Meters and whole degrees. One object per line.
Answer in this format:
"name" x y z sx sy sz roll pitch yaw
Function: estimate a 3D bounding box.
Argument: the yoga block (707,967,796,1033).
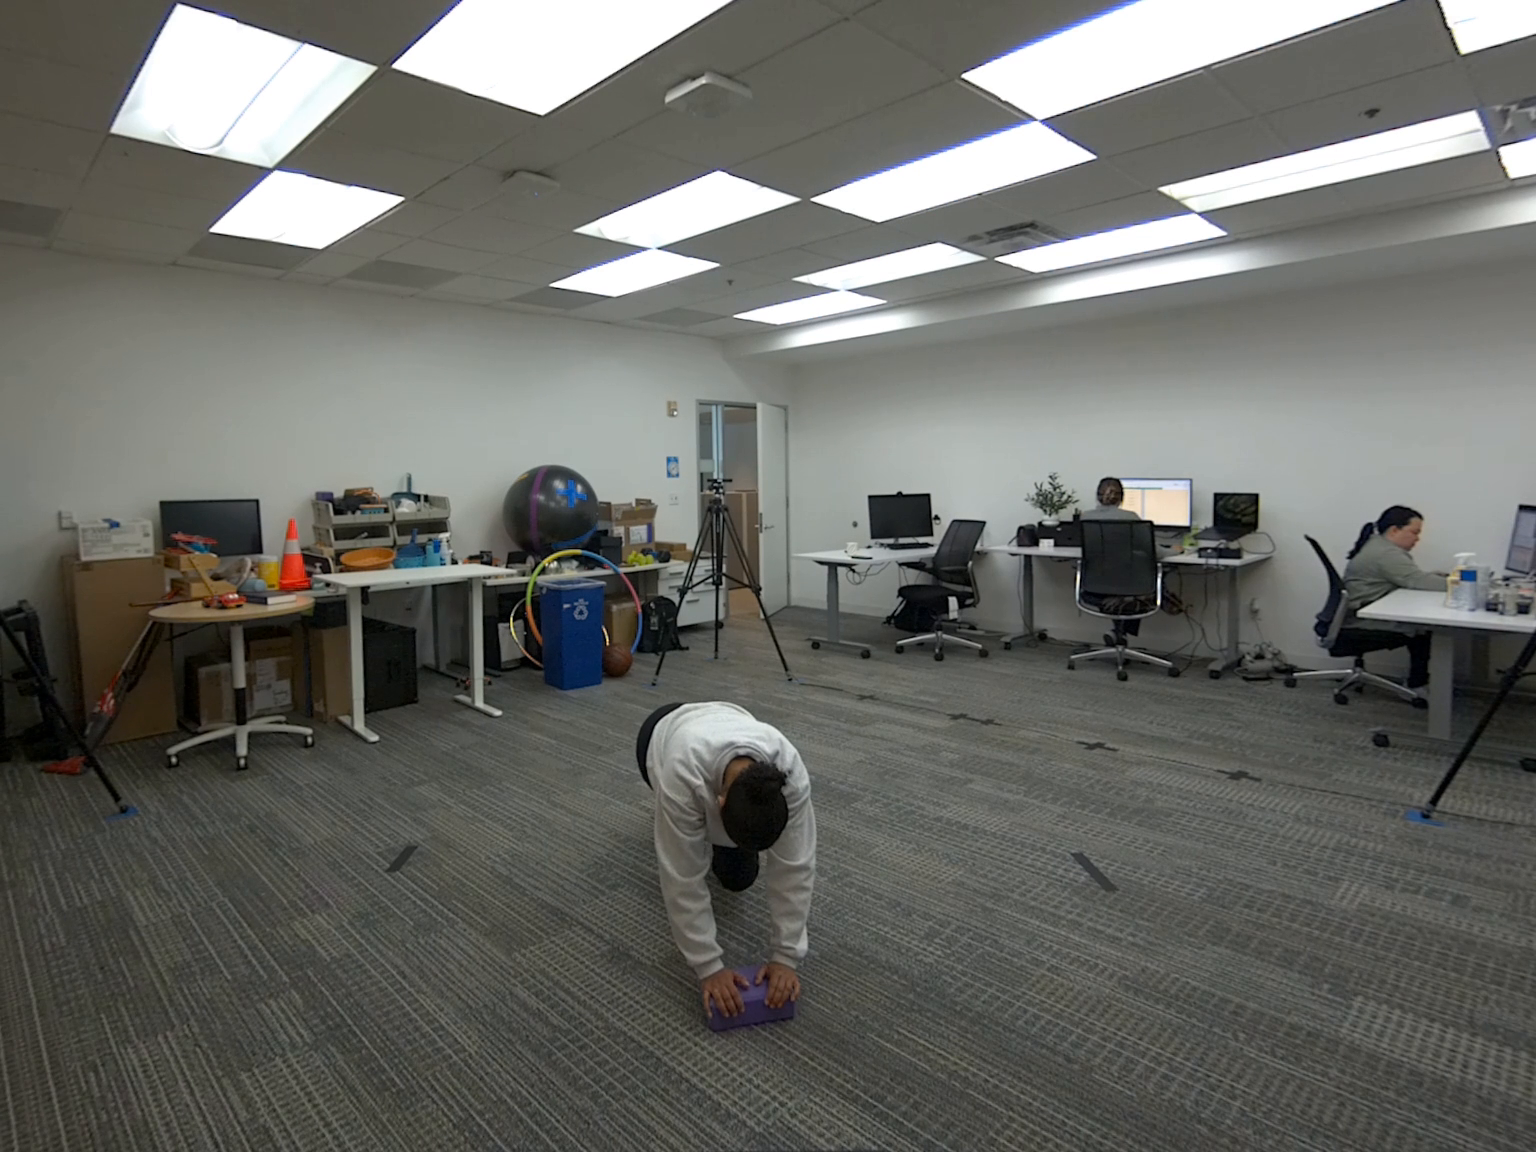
"yoga block" -0.048 1.119 2.254 0.227 0.076 0.151 -2 6 -13
